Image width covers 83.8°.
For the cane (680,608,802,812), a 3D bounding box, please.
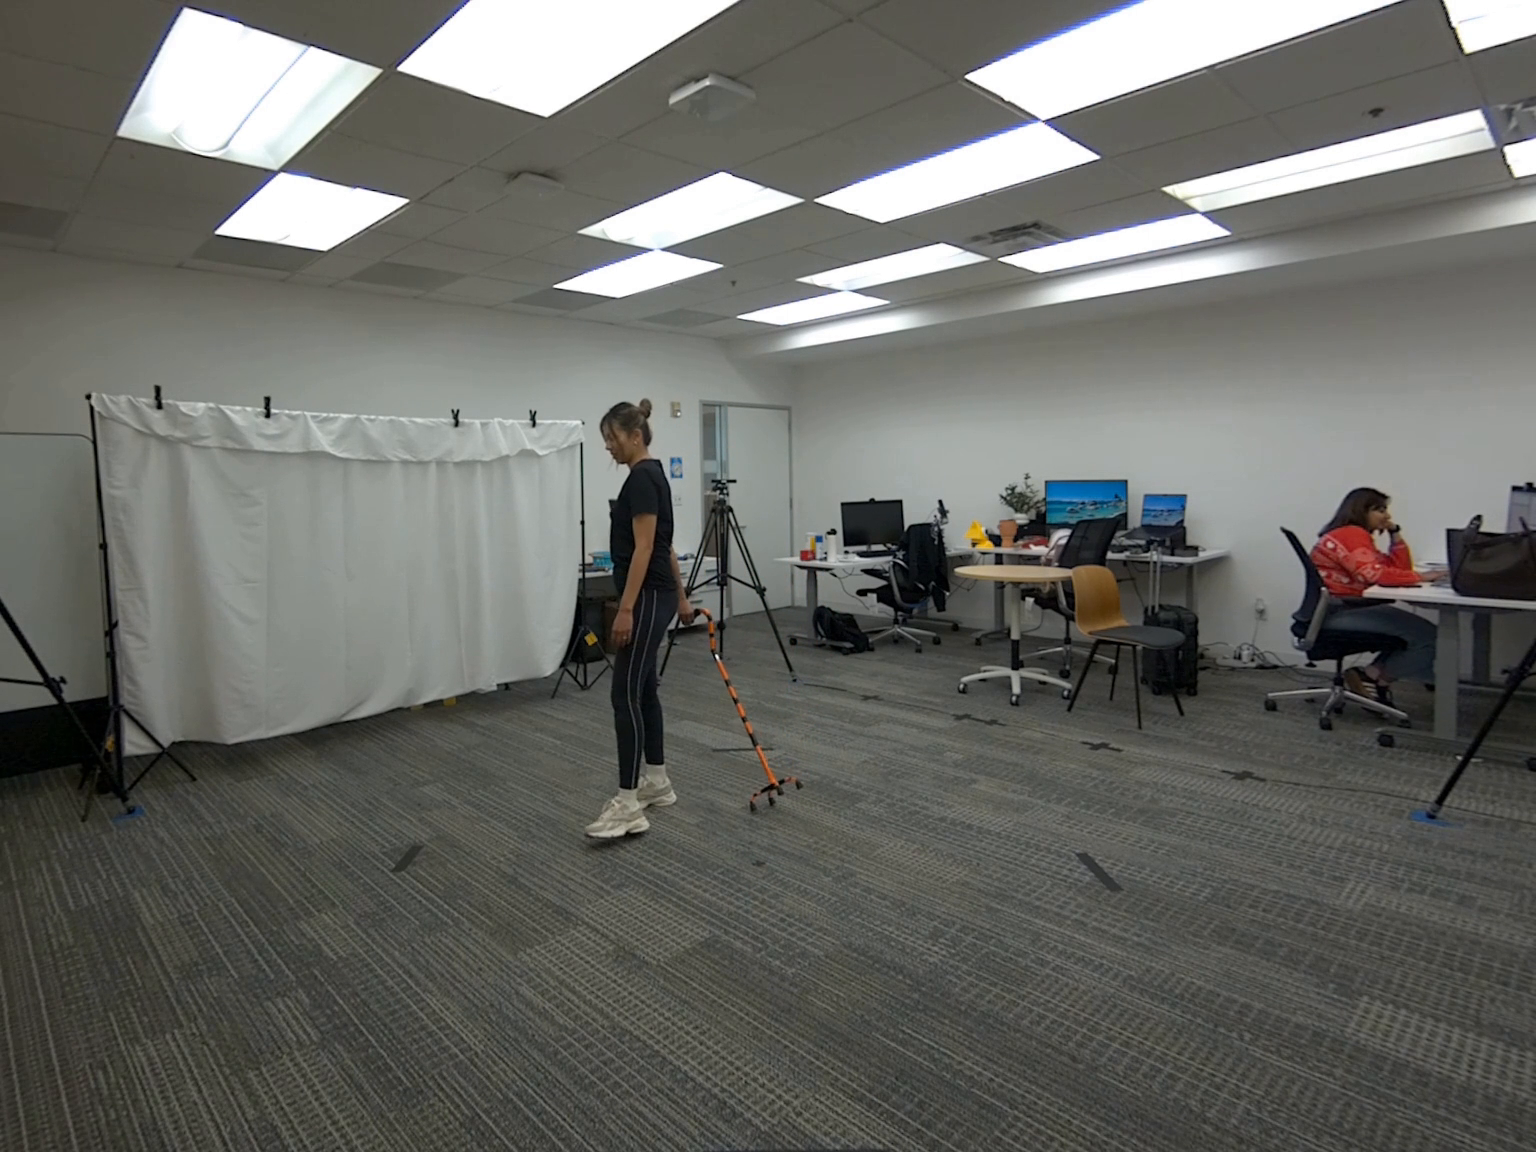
[{"bbox_3d":[-0.144,0.548,3.736,0.147,0.932,0.207,0,-34,-47],"label":"cane"}]
